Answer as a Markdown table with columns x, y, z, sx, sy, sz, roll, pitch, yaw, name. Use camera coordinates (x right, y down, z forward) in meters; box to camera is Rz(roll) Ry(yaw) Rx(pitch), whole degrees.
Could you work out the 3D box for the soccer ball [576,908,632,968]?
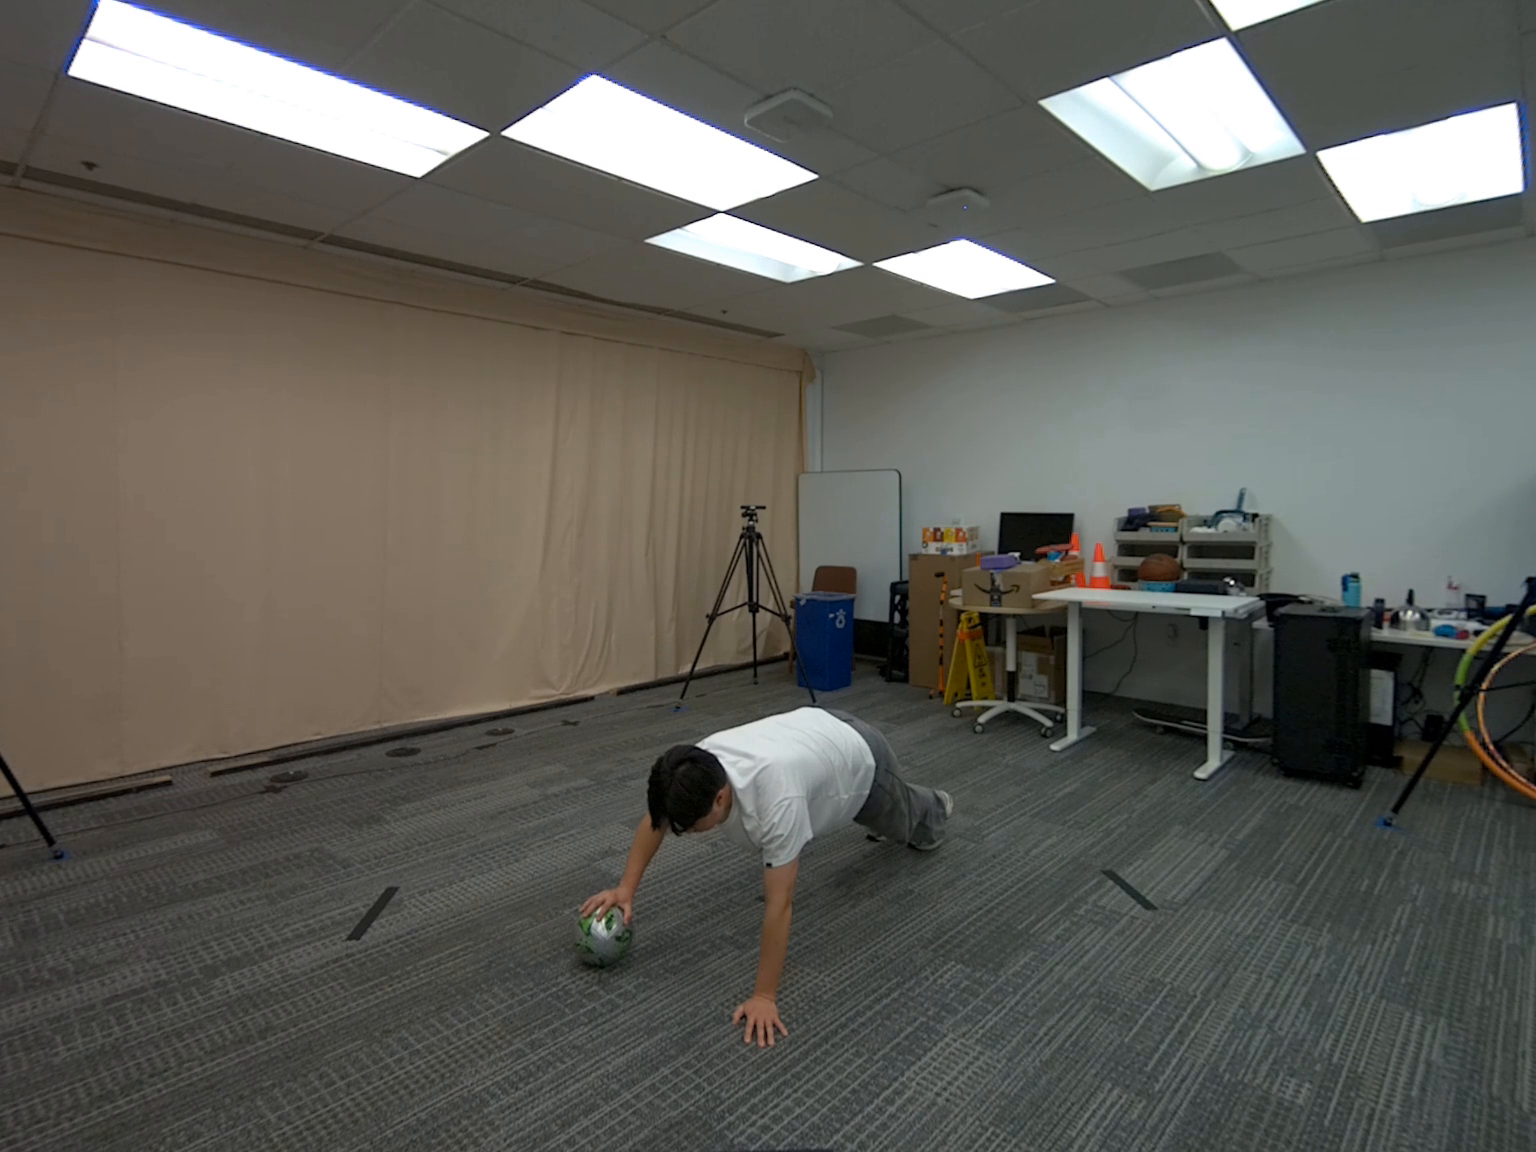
| x | y | z | sx | sy | sz | roll | pitch | yaw | name |
| --- | --- | --- | --- | --- | --- | --- | --- | --- | --- |
| -0.497 | 1.092 | 2.572 | 0.187 | 0.187 | 0.188 | 0 | 4 | -2 | soccer ball |
